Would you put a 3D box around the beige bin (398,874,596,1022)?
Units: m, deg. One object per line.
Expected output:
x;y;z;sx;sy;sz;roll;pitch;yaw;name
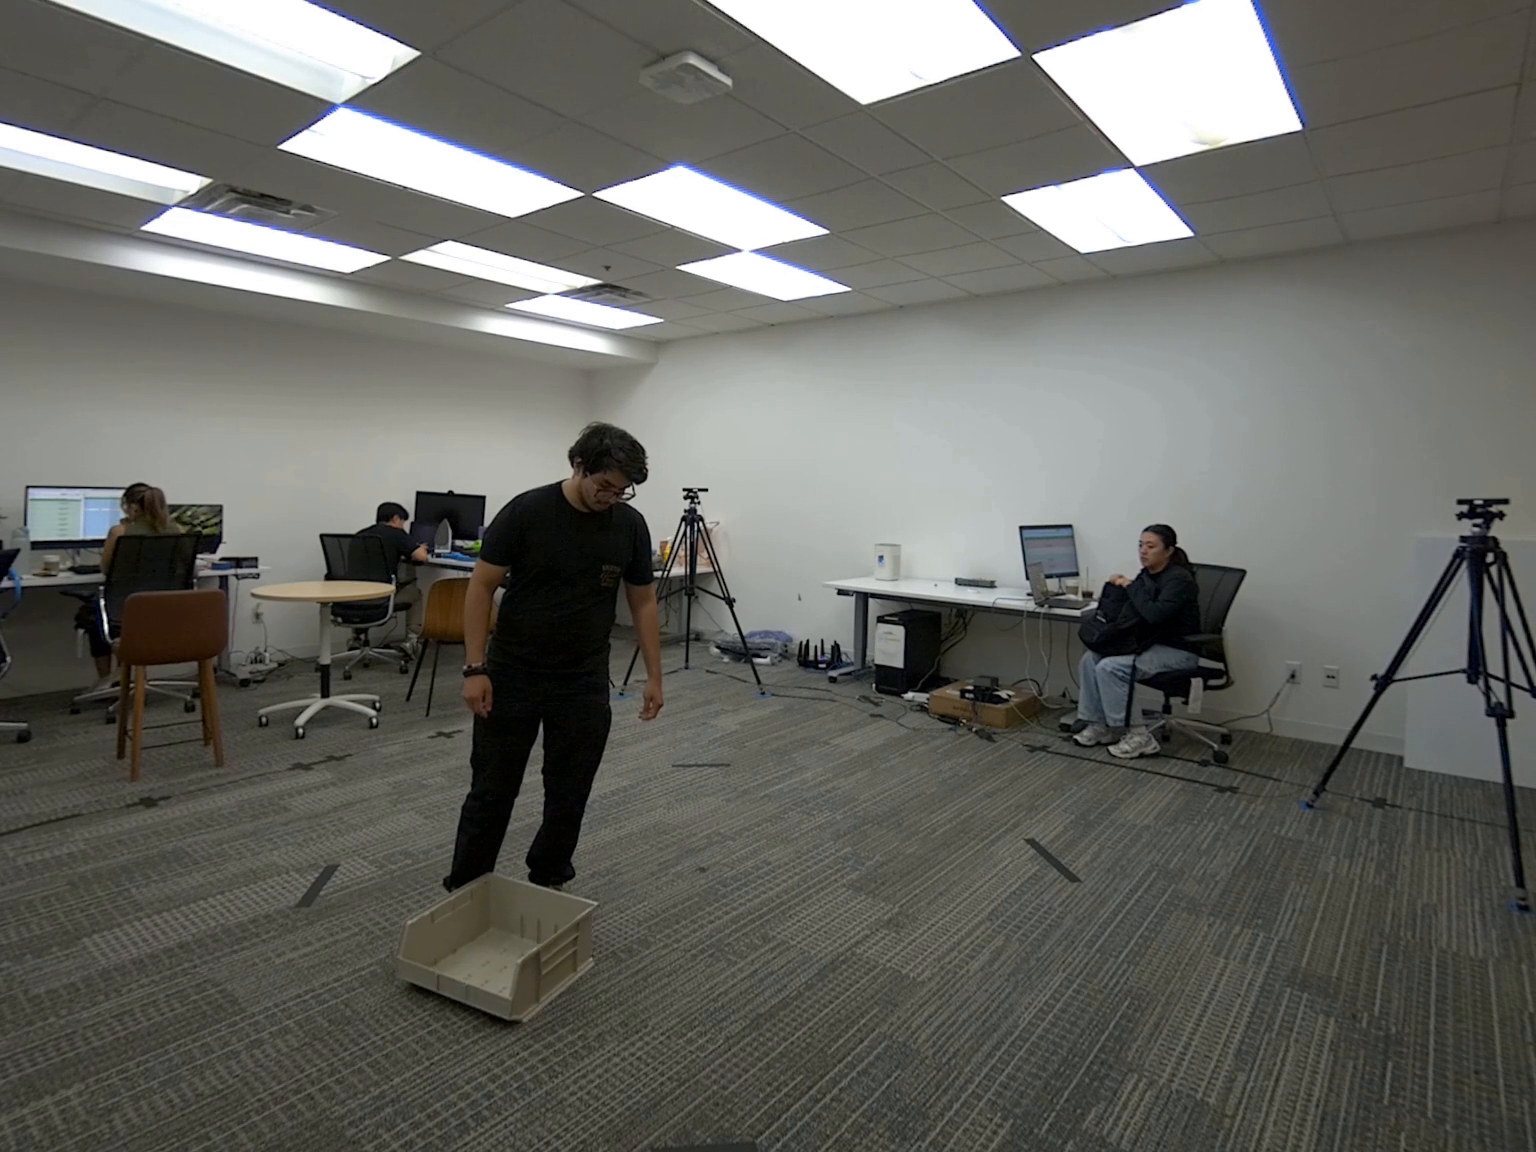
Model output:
-0.762;1.045;2.401;0.433;0.188;0.369;3;5;25;beige bin
